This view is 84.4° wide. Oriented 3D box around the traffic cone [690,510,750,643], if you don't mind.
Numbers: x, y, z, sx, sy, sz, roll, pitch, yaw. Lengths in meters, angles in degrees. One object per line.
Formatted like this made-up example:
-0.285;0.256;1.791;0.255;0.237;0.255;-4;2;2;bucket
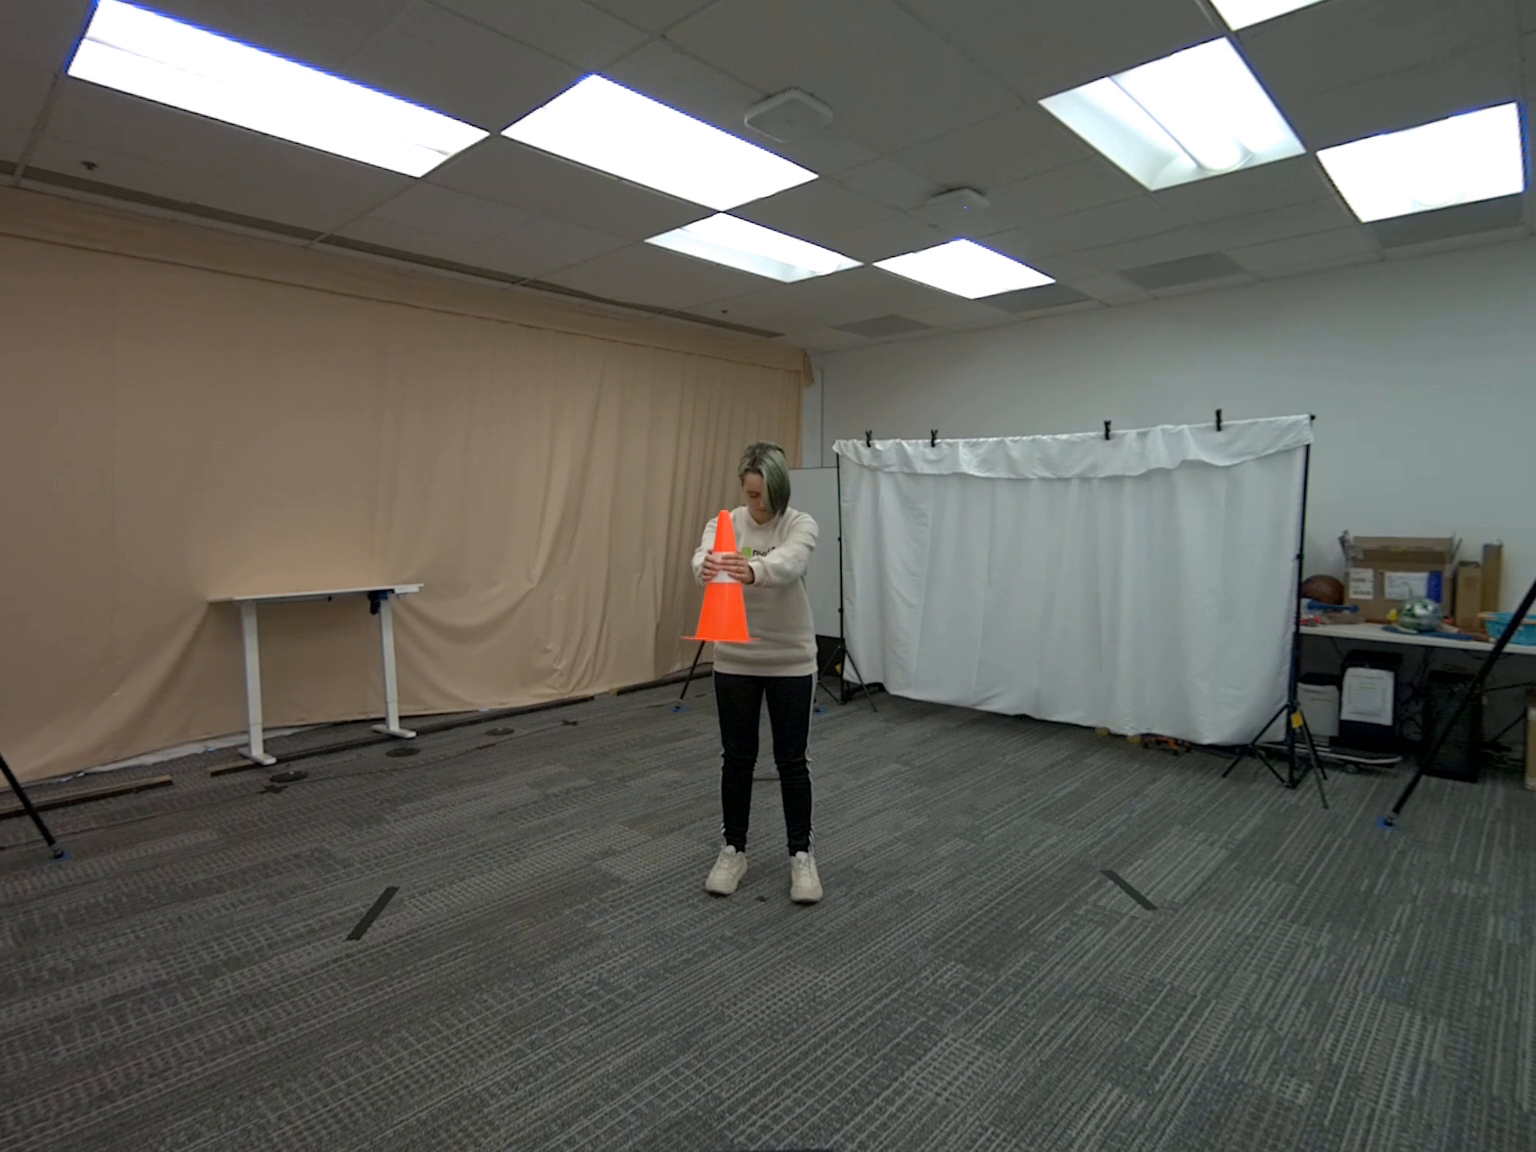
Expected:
-0.131;-0.002;2.507;0.209;0.384;0.199;-1;-3;17;traffic cone
